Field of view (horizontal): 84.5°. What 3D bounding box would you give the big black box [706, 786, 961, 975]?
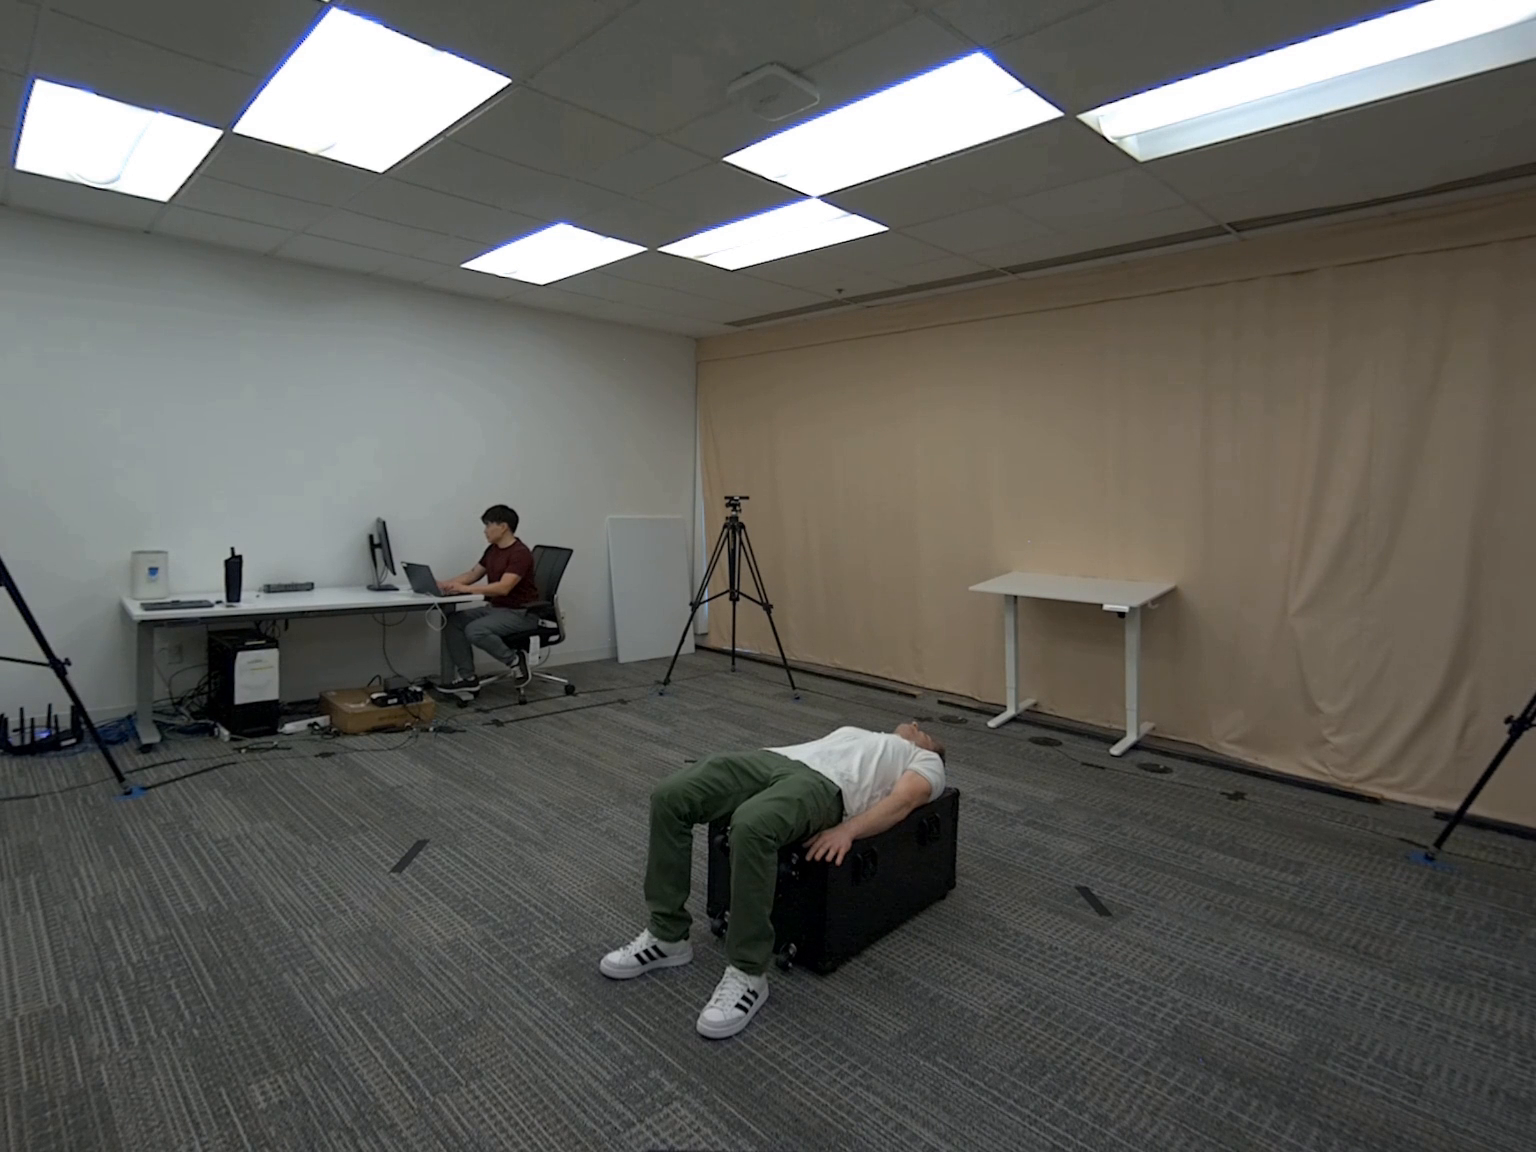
[{"bbox_3d":[0.204,0.950,2.843,0.537,0.384,0.849,6,8,42],"label":"big black box"}]
